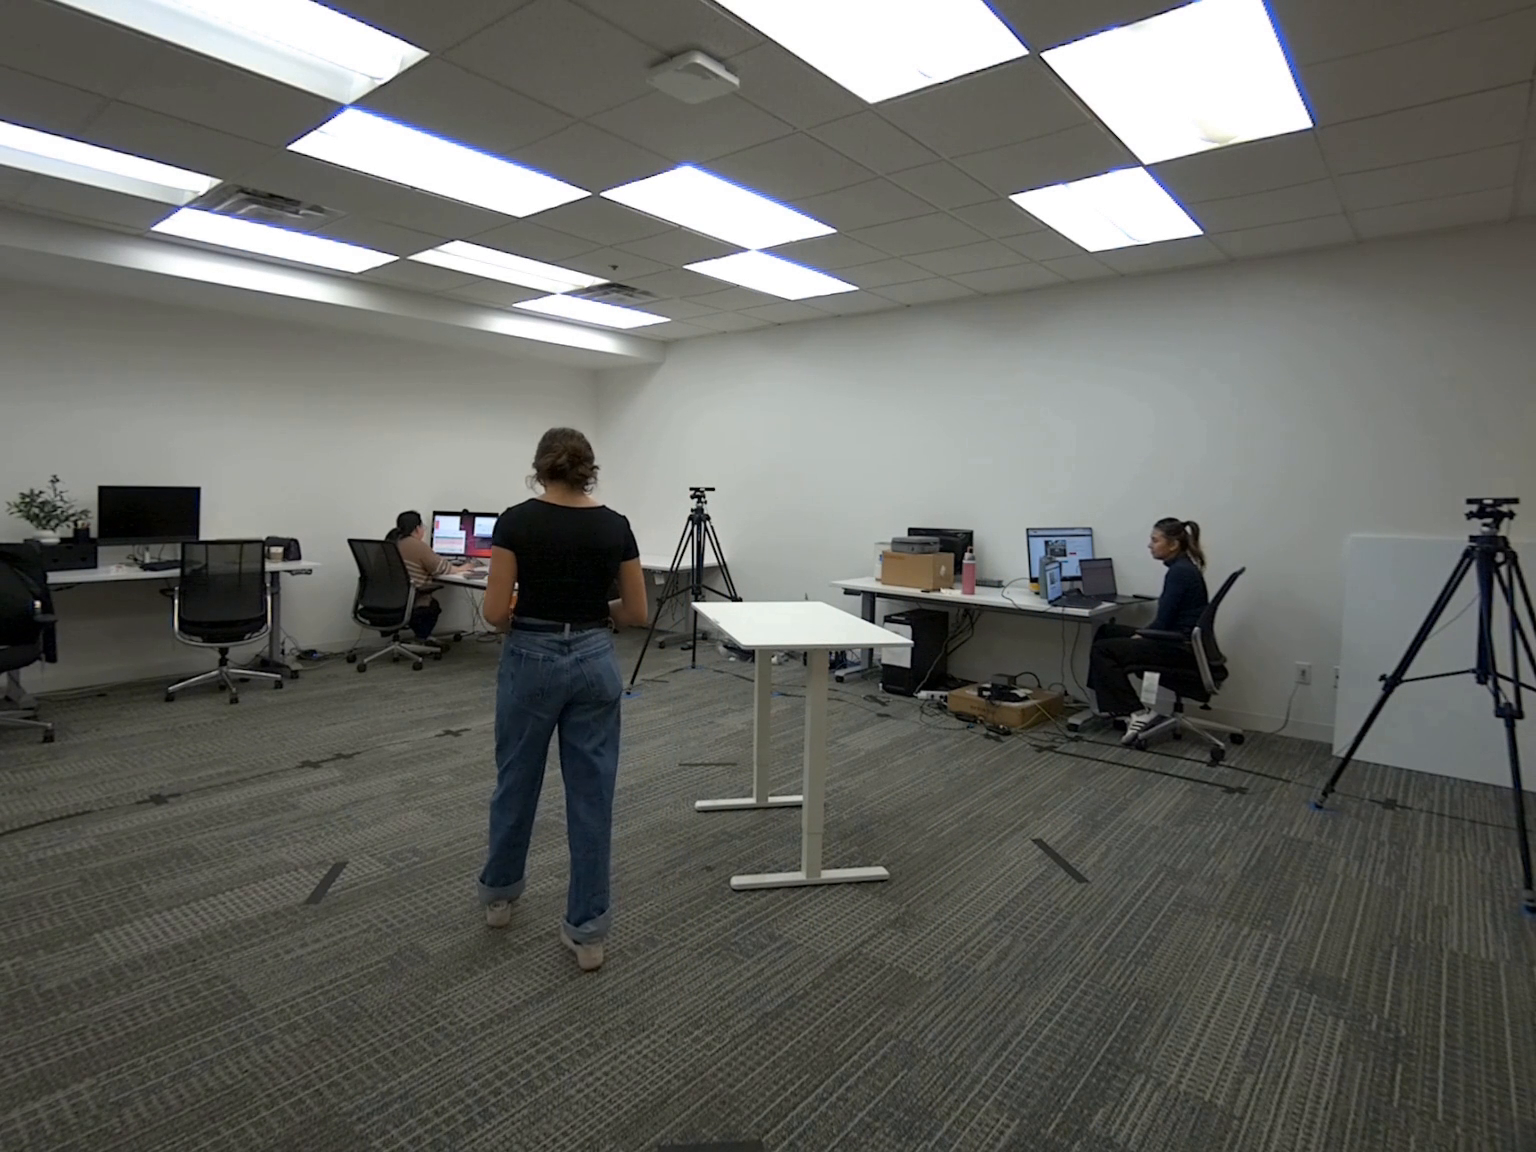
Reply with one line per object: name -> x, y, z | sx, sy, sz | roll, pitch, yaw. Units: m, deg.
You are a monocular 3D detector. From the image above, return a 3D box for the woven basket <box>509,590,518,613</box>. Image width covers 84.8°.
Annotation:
woven basket -> -0.825, 0.125, 2.831 | 0.244, 0.073, 0.362 | 5, 3, -37
